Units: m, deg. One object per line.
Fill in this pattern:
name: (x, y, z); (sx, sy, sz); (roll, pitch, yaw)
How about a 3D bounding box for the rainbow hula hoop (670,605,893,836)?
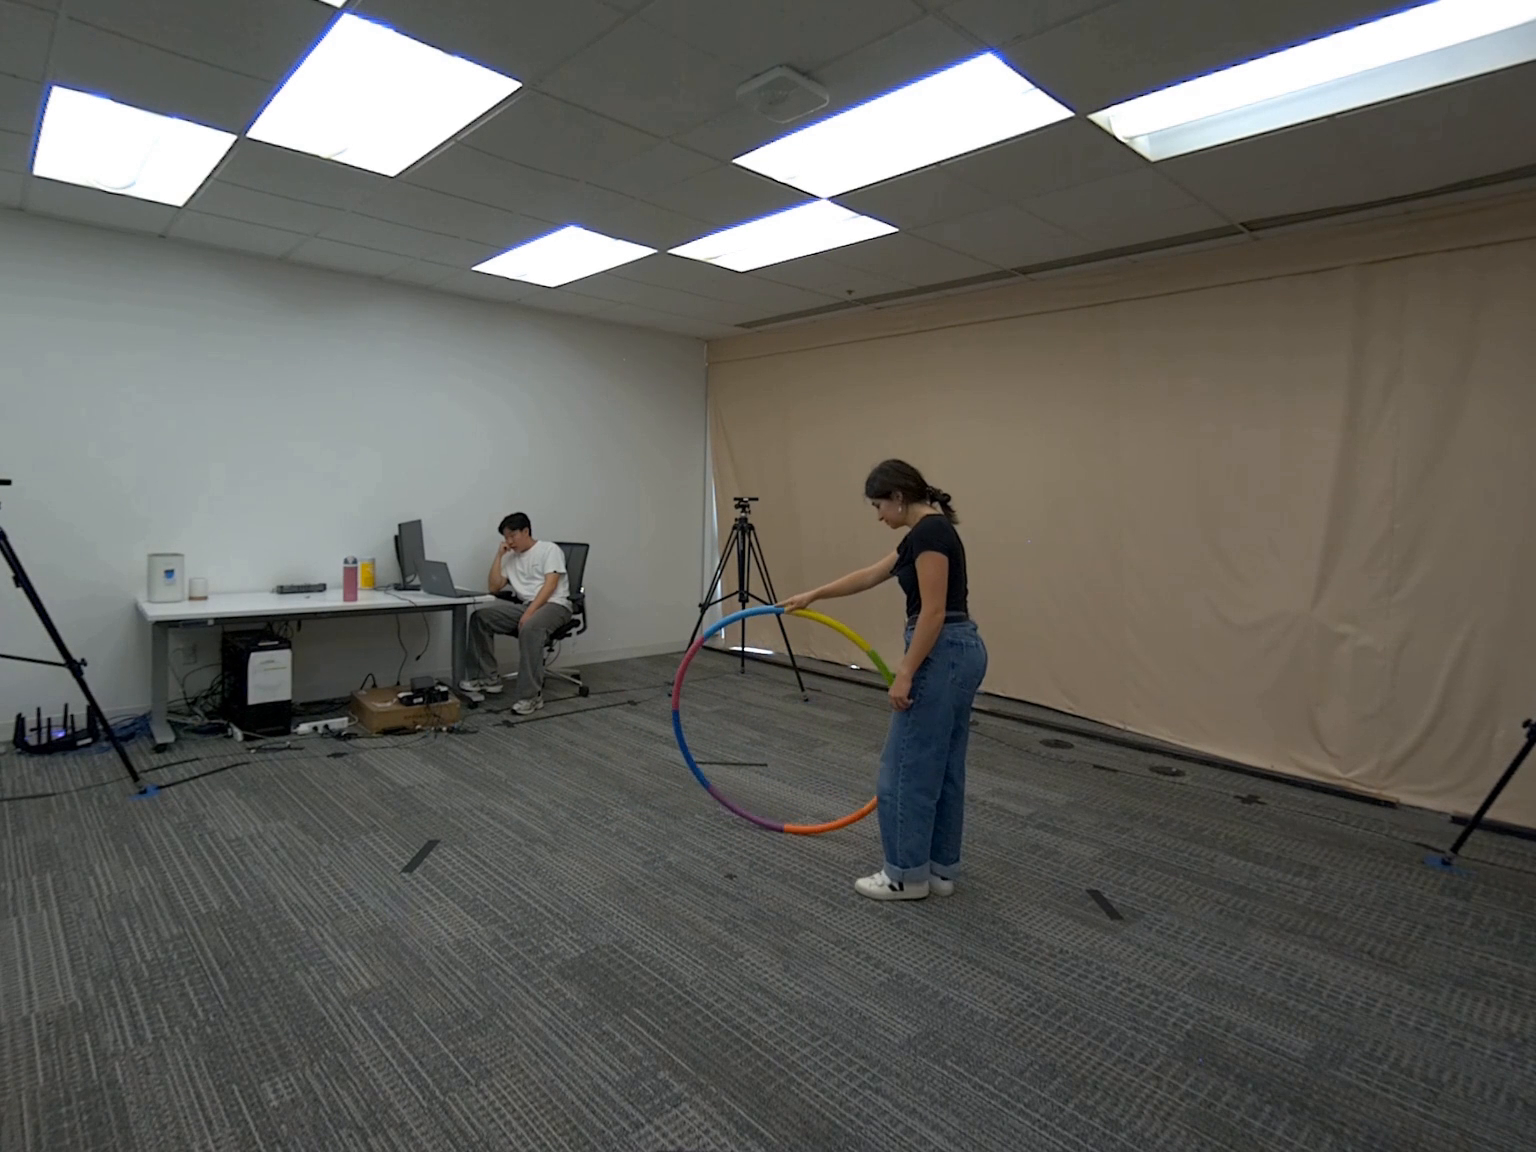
rainbow hula hoop: (0.061, 0.607, 3.457); (0.992, 0.971, 0.035); (3, 10, 18)
